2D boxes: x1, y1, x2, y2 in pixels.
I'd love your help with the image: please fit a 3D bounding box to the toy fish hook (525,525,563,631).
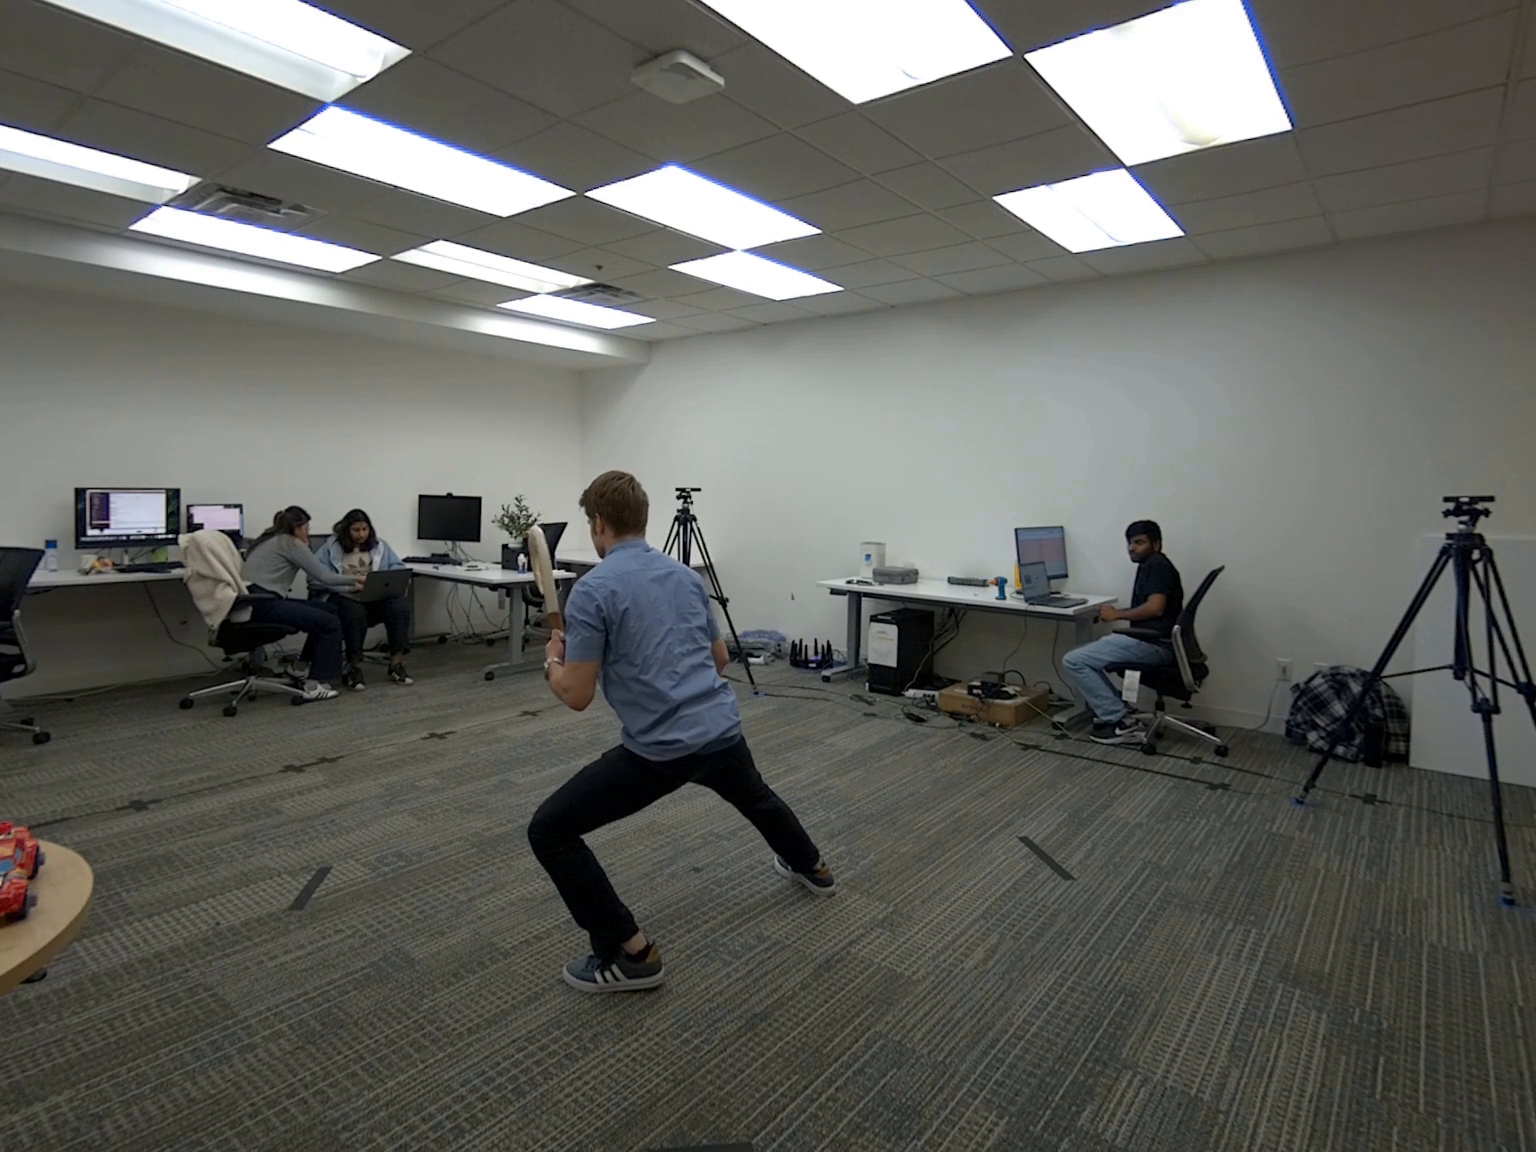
[{"bbox_3d":[-0.710,0.079,2.721,0.047,0.518,0.223,-6,-21,-21],"label":"toy fish hook"}]
